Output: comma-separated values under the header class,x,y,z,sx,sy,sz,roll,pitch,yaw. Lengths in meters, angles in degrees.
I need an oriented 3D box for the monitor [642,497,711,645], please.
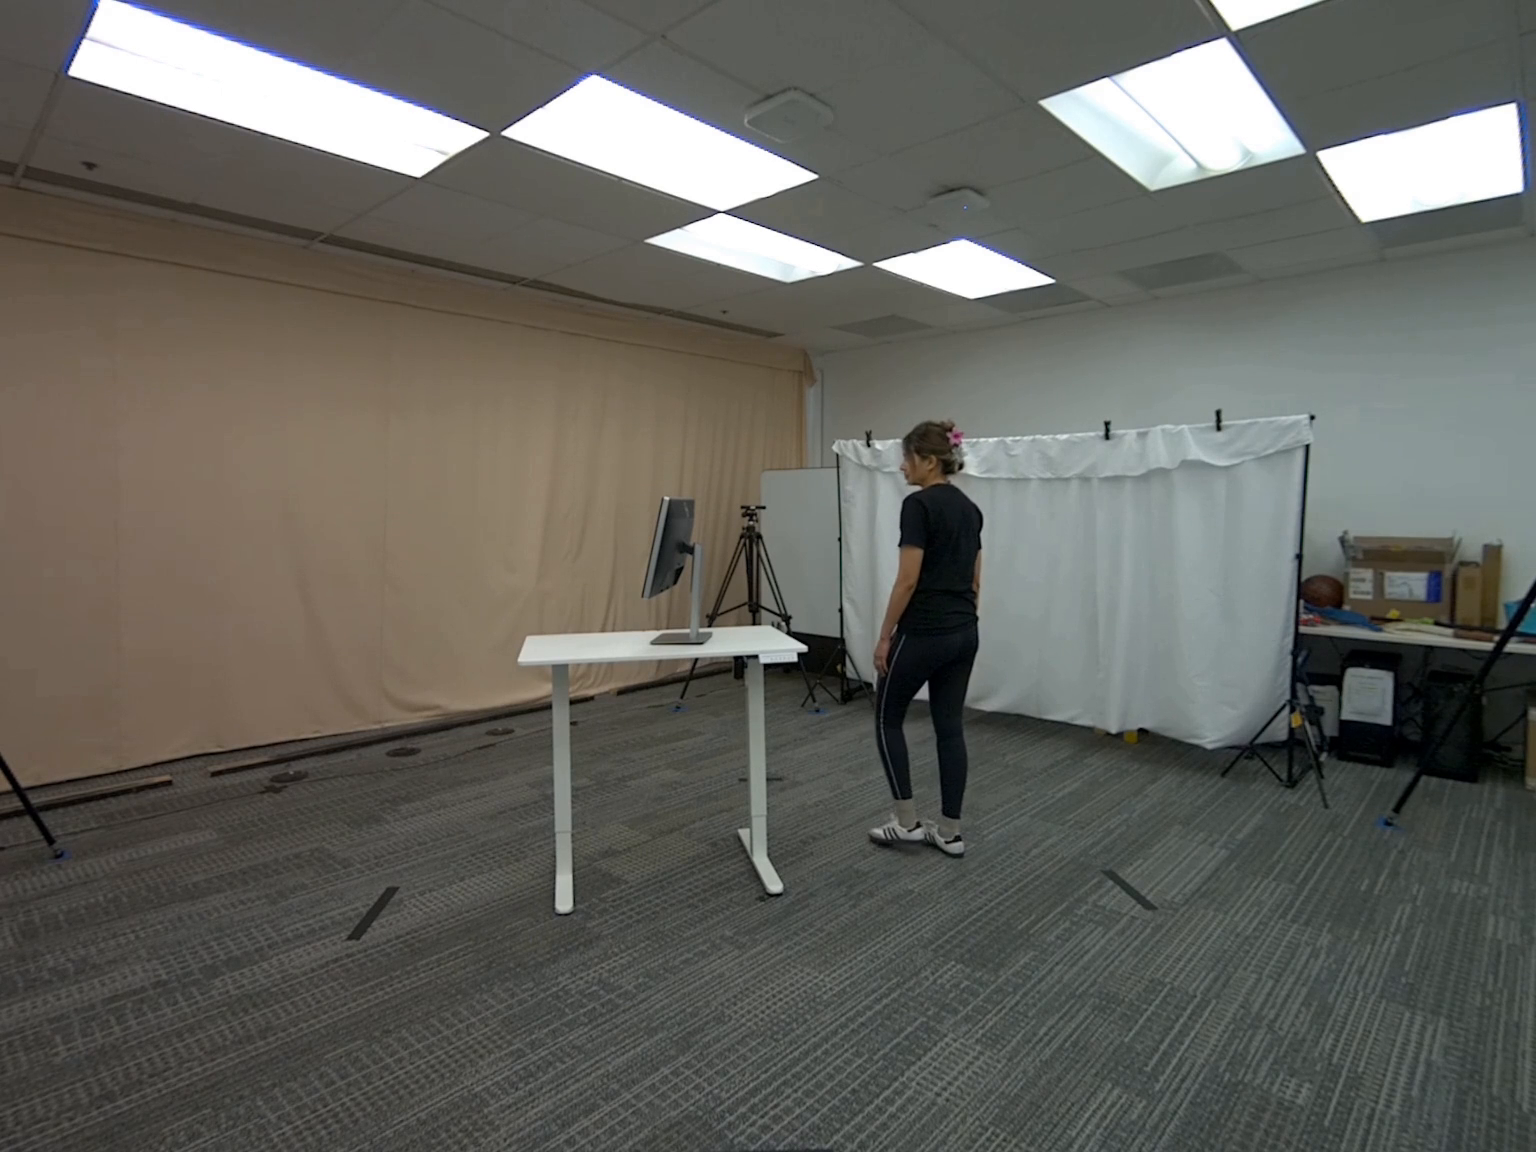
class,x,y,z,sx,sy,sz,roll,pitch,yaw
monitor,-0.322,-0.017,3.184,0.188,0.521,0.537,-1,4,3
